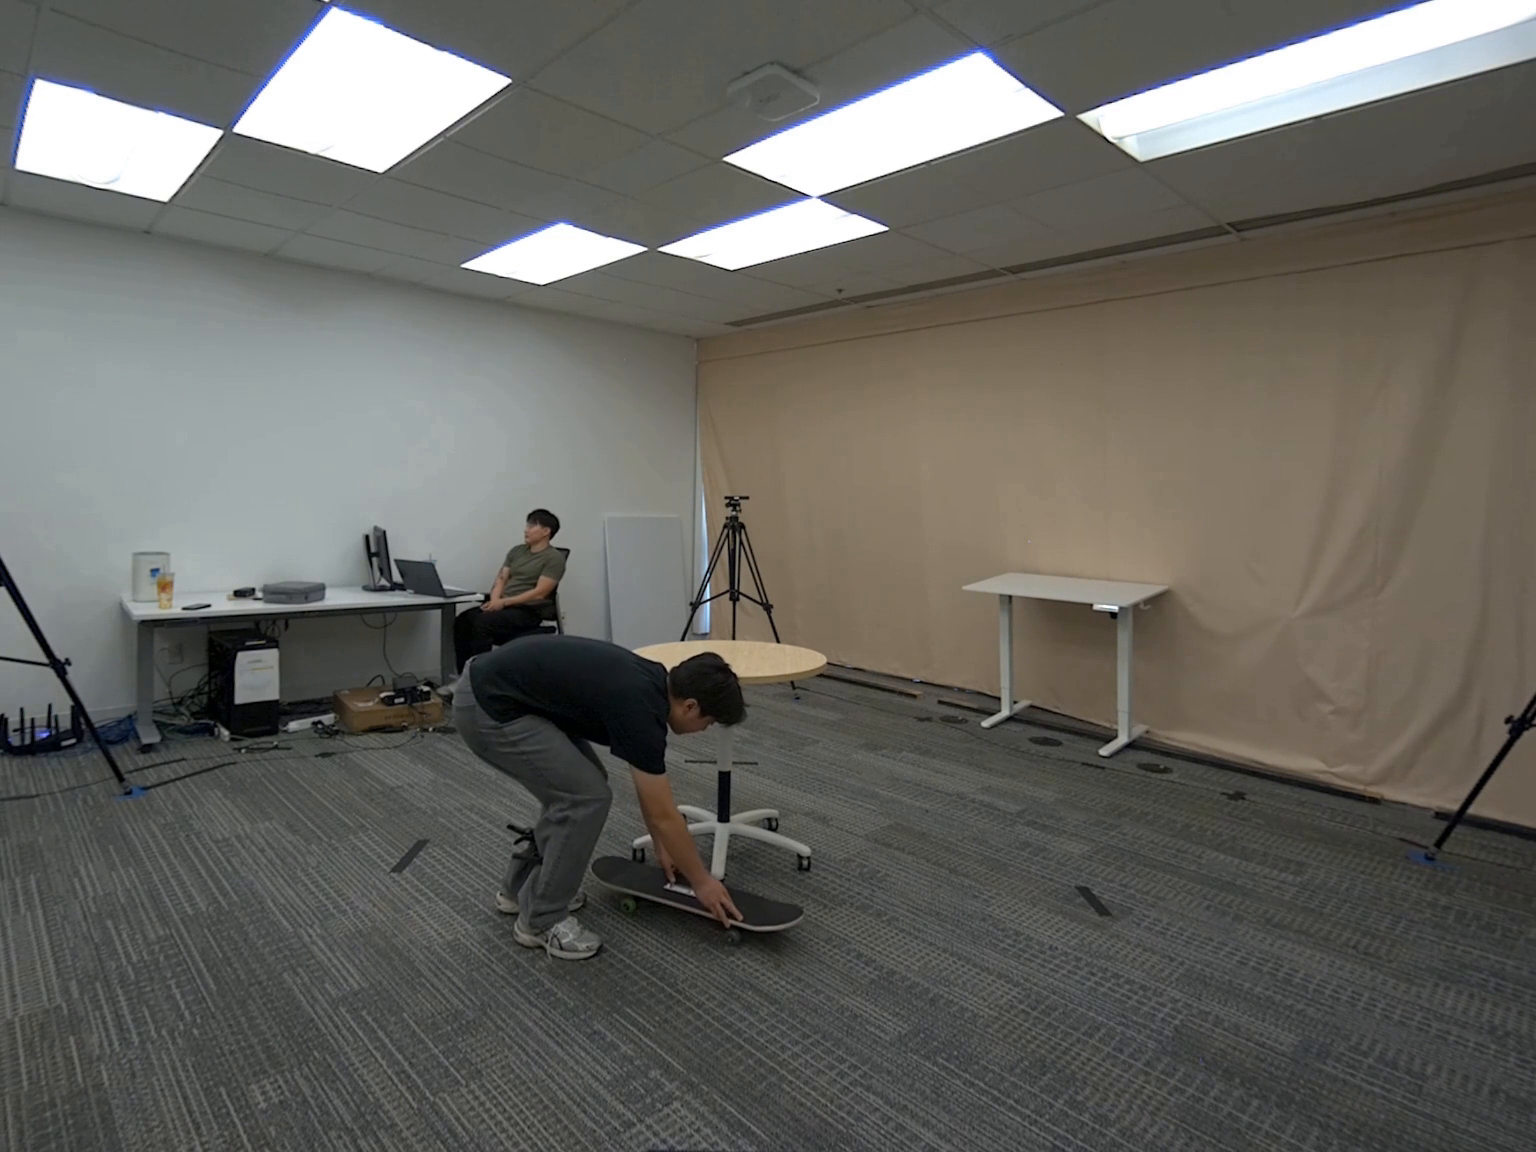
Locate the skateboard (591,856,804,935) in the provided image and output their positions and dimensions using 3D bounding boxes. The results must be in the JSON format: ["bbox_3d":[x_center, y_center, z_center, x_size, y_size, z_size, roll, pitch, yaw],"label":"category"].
[{"bbox_3d":[-0.260,1.072,2.779,0.802,0.110,0.190,4,5,28],"label":"skateboard"}]
